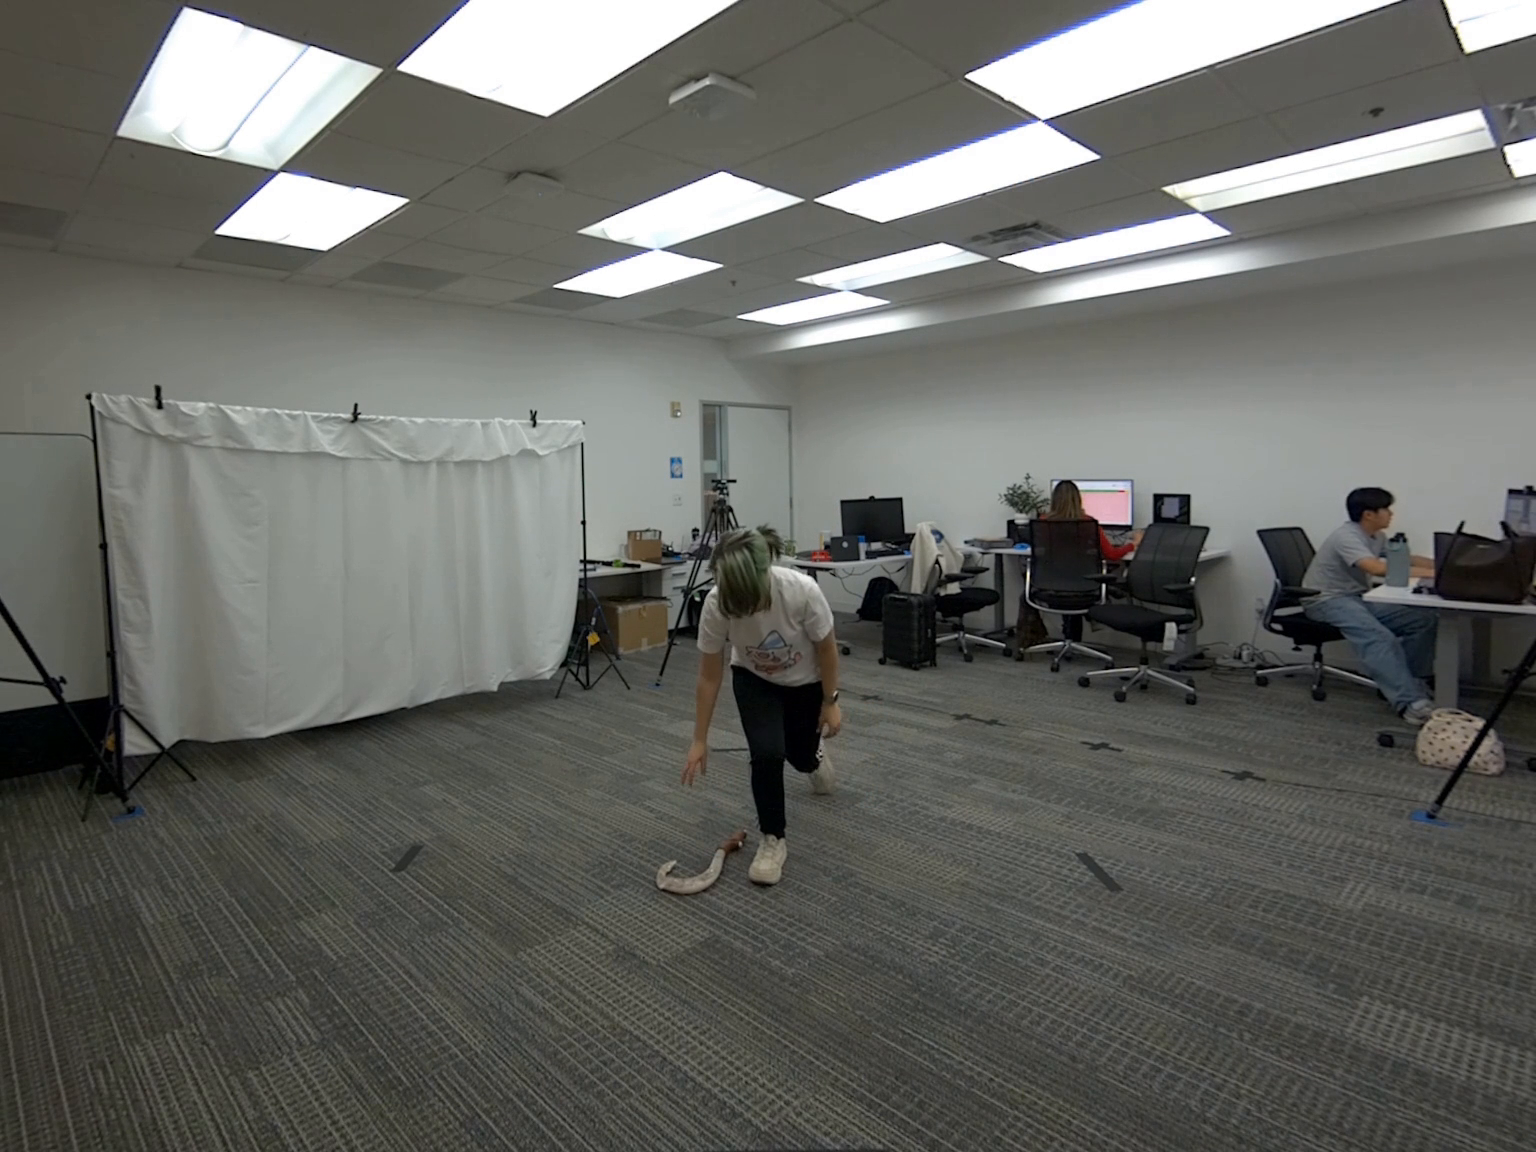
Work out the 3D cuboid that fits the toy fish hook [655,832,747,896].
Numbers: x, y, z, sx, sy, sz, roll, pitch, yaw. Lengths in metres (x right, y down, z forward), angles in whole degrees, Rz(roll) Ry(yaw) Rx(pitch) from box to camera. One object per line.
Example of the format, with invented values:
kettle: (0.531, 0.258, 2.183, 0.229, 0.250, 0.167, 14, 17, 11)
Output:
toy fish hook: (-0.233, 1.024, 3.117, 0.229, 0.048, 0.498, 3, 7, 22)
